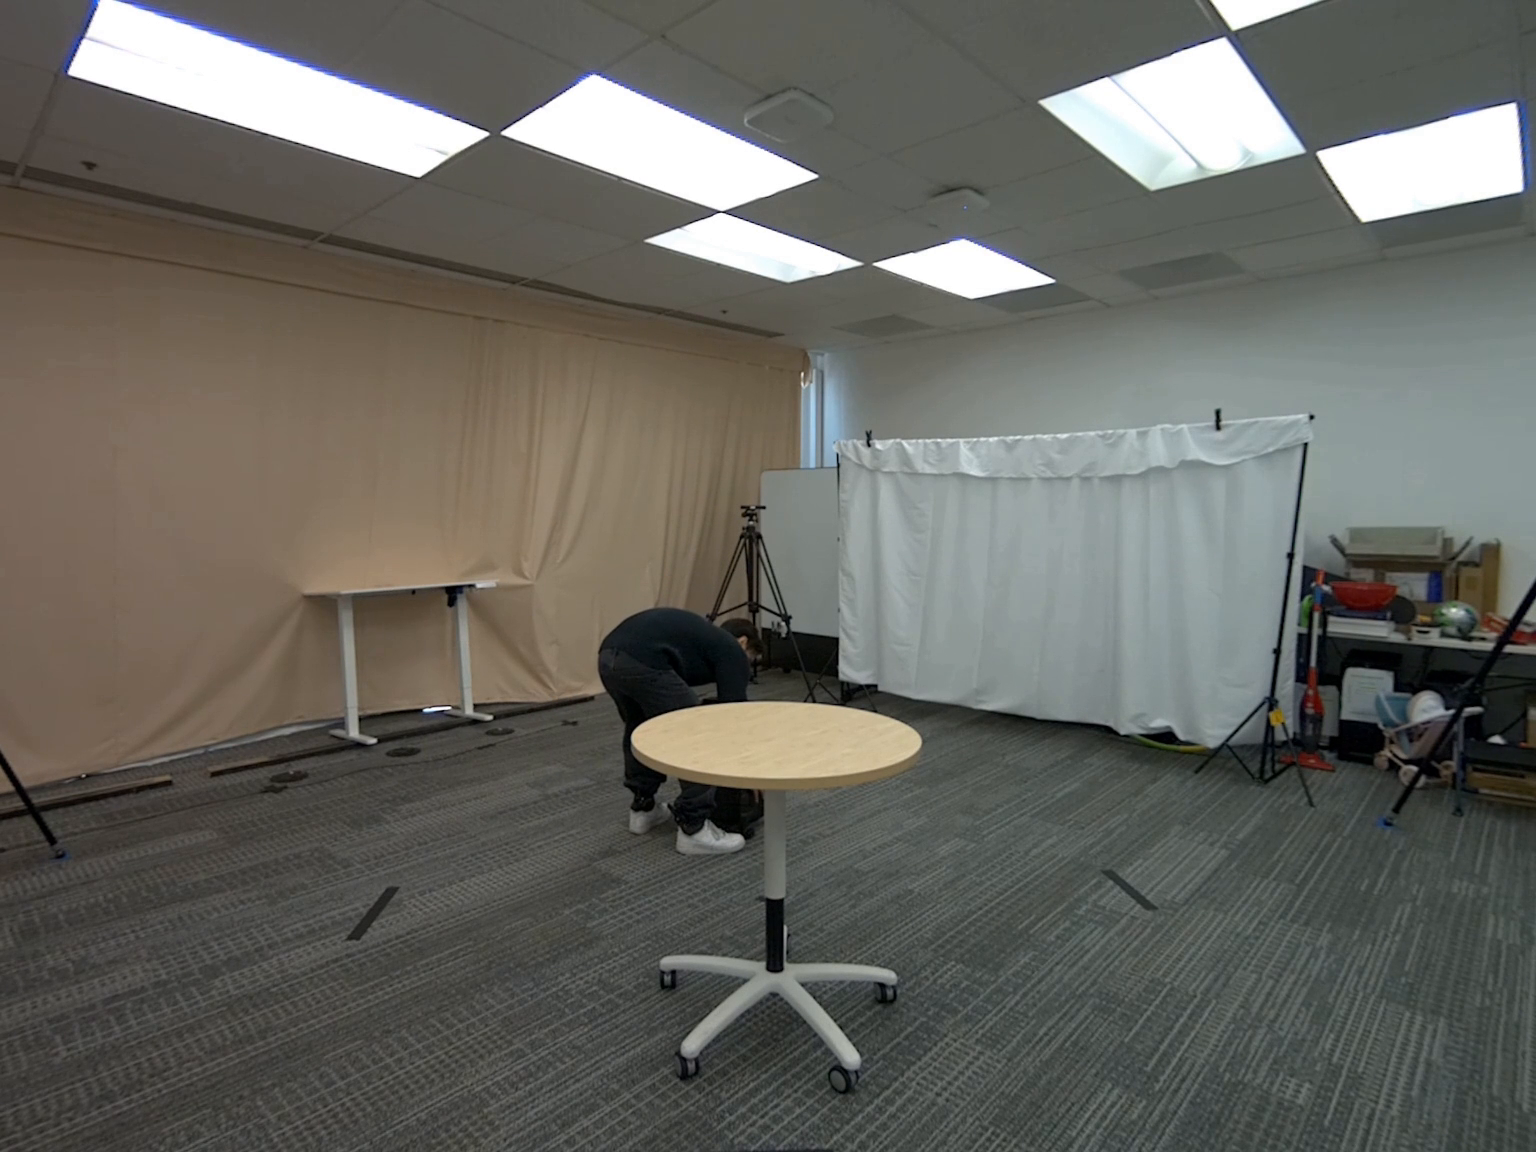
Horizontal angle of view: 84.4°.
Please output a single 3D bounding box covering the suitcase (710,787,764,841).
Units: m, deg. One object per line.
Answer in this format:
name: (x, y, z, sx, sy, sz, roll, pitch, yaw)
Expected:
suitcase: (-0.166, 0.810, 3.682, 0.387, 0.549, 0.241, 1, 2, 37)
